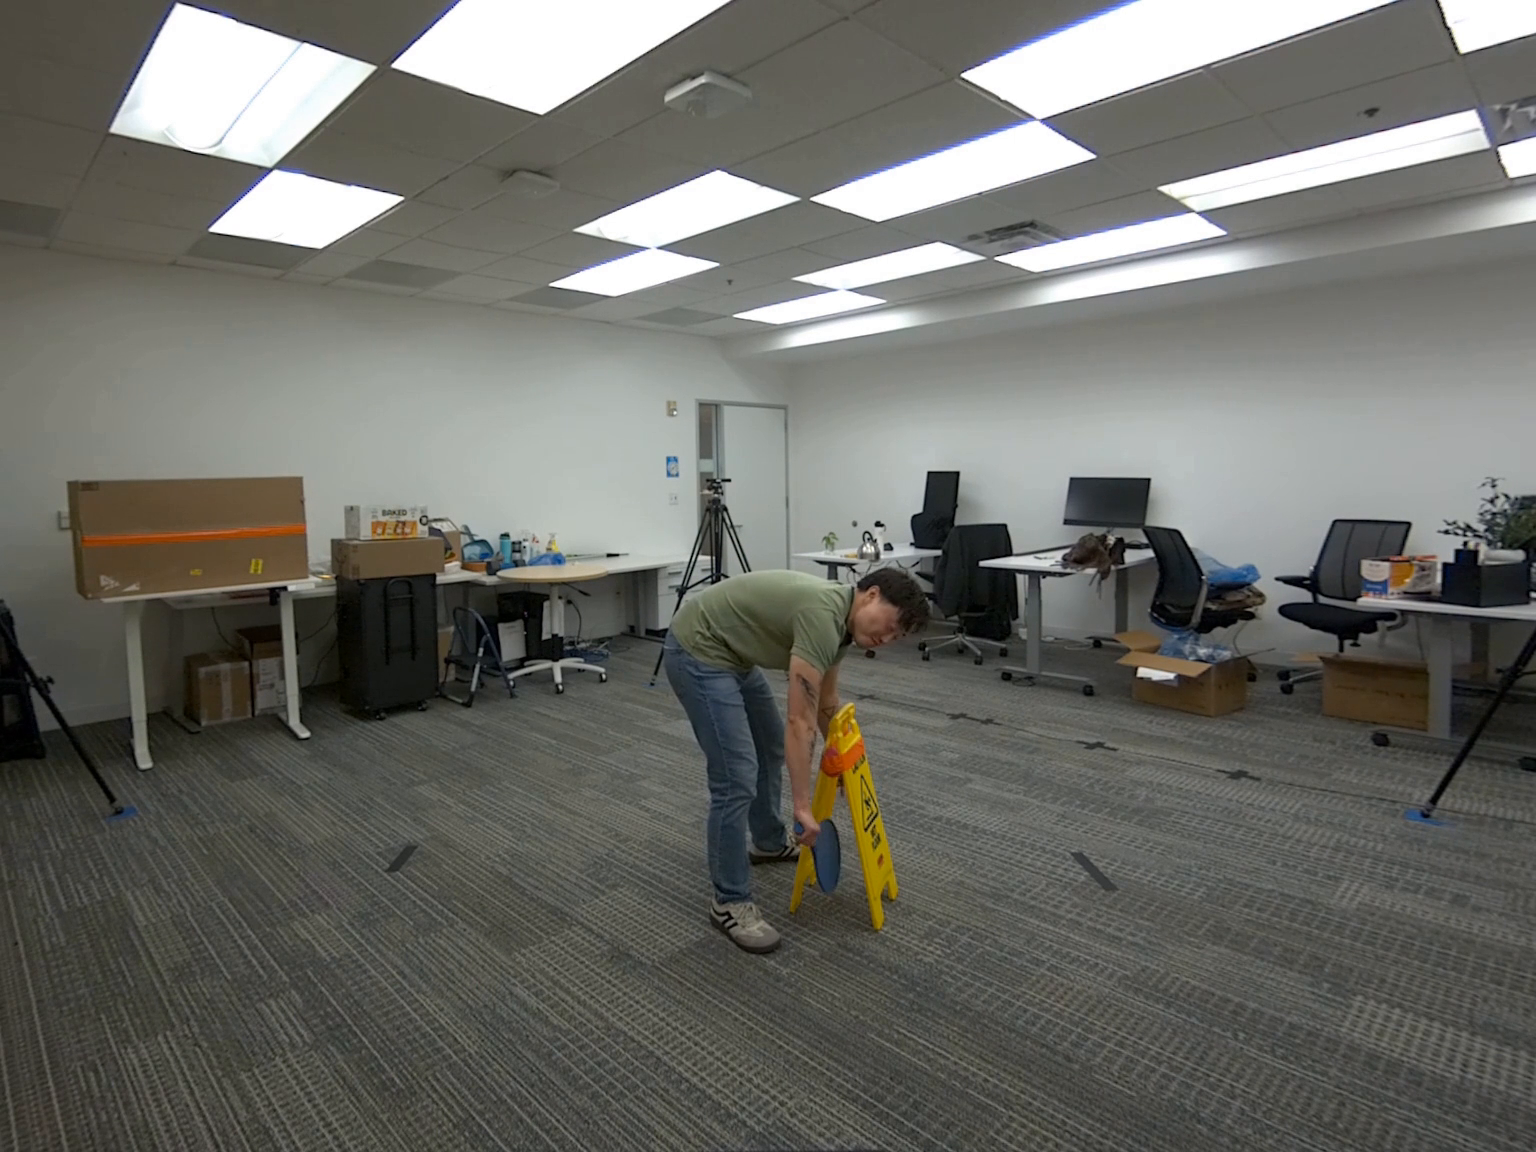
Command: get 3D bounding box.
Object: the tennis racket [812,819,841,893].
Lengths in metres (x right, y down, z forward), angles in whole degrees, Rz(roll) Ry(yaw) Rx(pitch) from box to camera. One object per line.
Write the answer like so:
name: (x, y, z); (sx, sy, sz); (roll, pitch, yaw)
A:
tennis racket: (0.152, 0.809, 2.554); (0.032, 0.218, 0.418); (-2, -35, 10)
